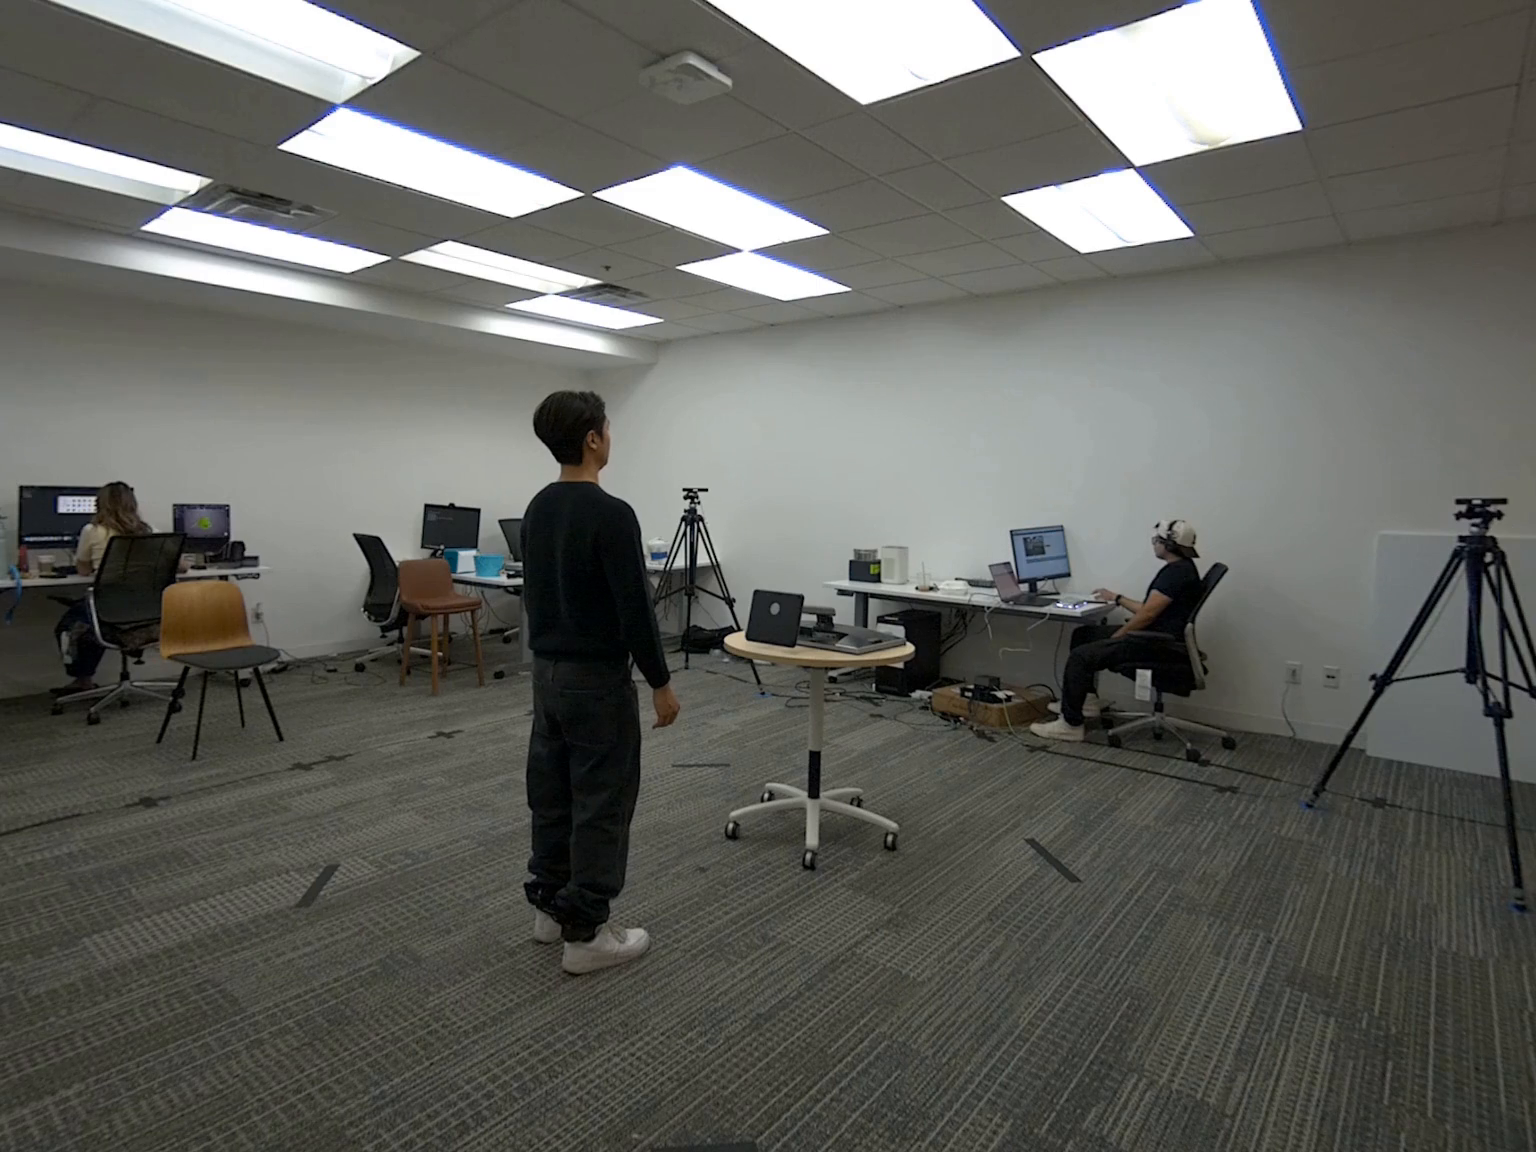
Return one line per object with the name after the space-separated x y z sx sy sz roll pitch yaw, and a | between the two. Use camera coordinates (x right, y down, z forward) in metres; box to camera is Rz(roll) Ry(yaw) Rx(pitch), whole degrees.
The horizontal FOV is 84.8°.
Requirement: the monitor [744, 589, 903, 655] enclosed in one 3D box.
0.185 0.196 3.448 0.558 0.188 0.502 8 -6 41 | monitor
